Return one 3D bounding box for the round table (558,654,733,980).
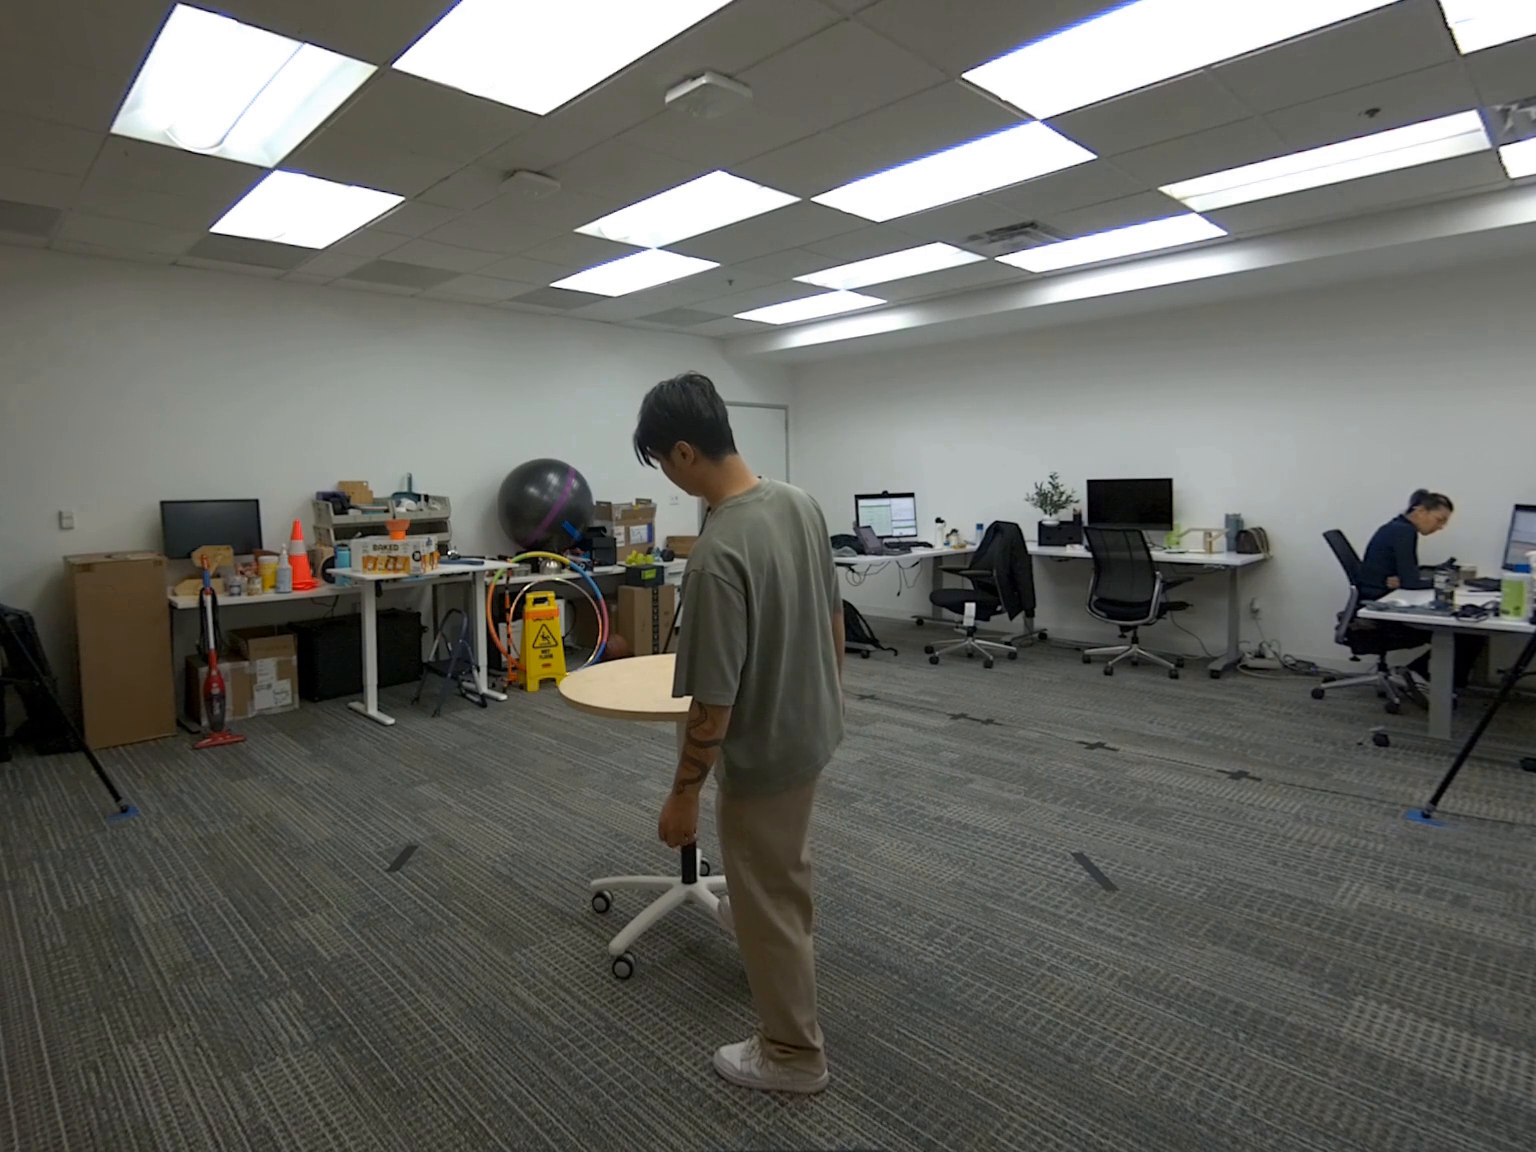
[{"bbox_3d":[-0.252,0.705,2.679,0.784,0.783,0.789,-1,5,-2],"label":"round table"}]
